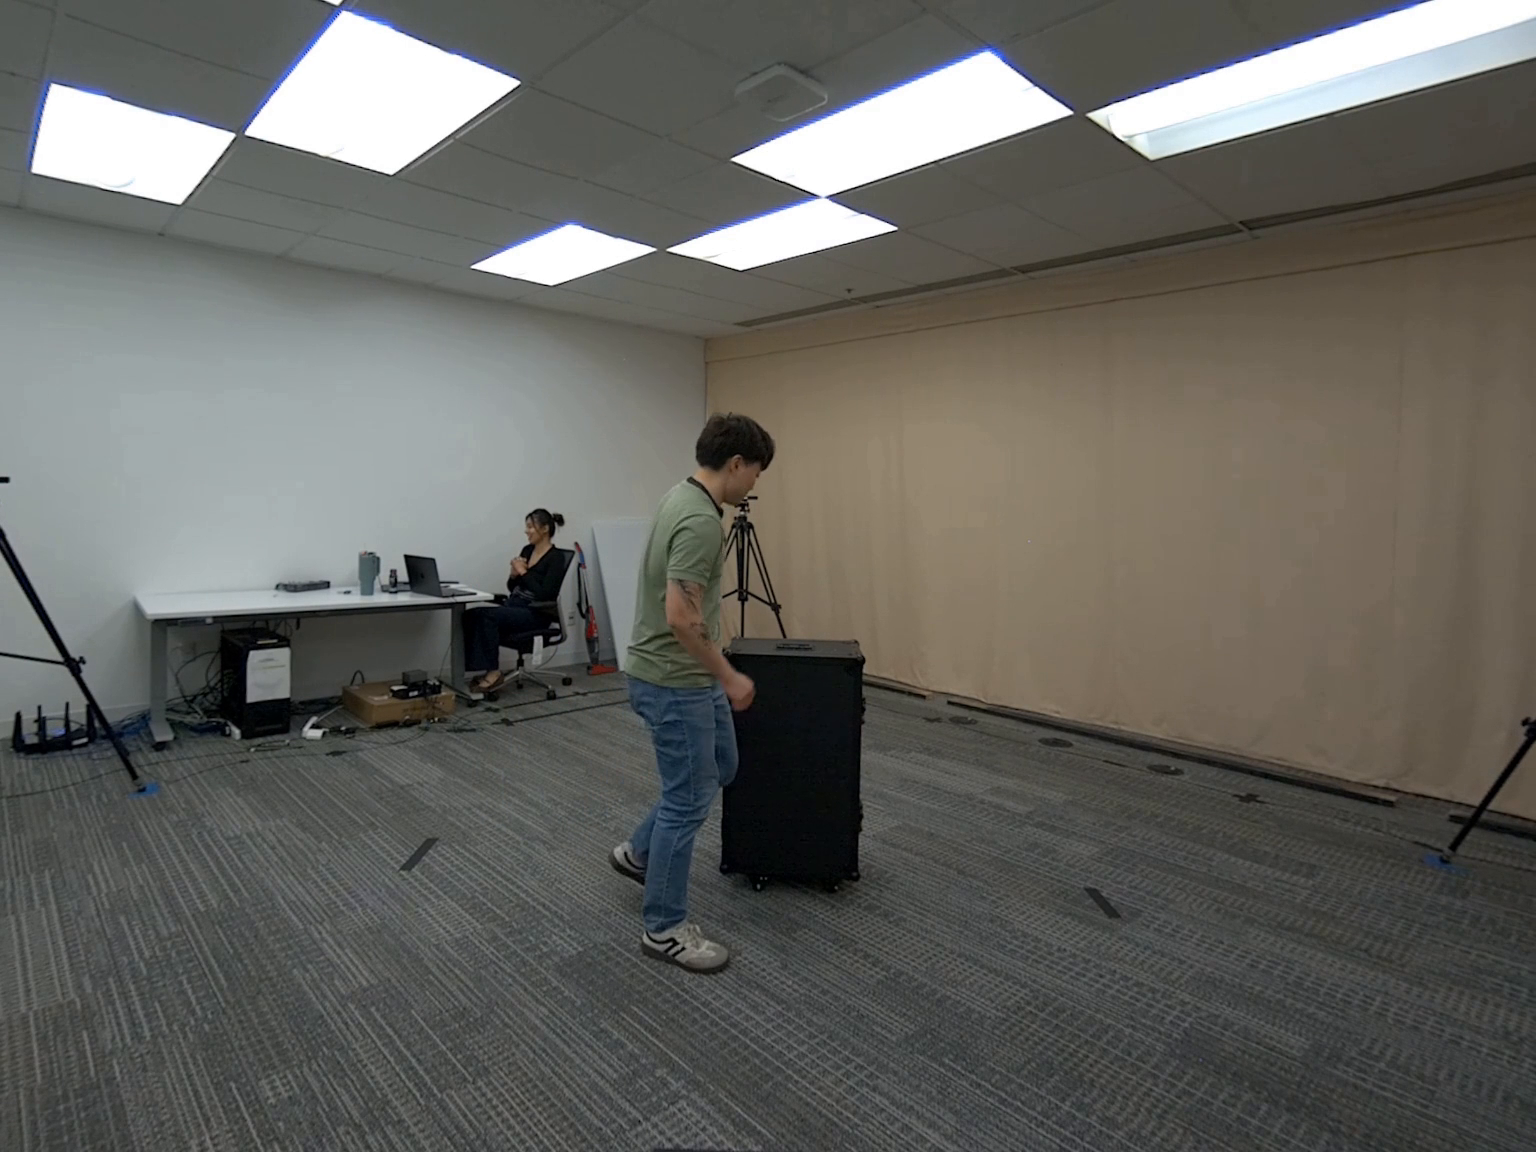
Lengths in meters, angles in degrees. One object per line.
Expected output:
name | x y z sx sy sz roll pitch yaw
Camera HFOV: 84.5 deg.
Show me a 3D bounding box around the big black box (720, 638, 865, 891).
big black box | 0.081 0.683 3.108 0.523 0.860 0.395 1 3 5
